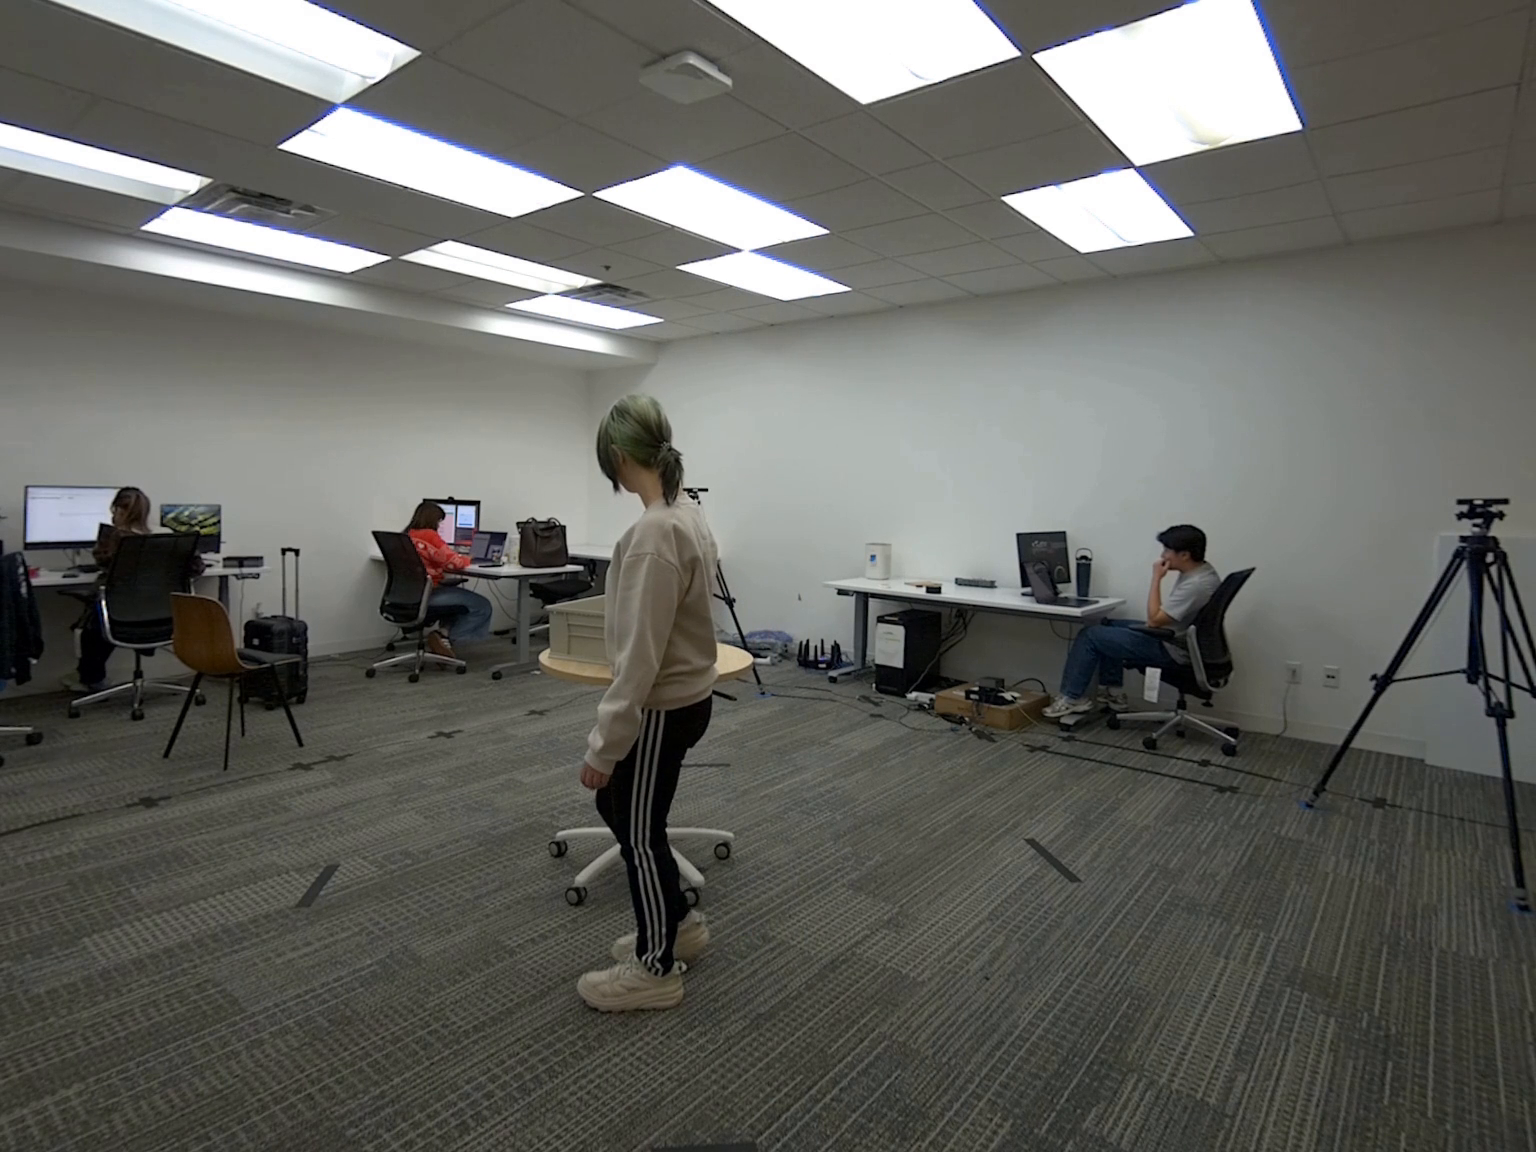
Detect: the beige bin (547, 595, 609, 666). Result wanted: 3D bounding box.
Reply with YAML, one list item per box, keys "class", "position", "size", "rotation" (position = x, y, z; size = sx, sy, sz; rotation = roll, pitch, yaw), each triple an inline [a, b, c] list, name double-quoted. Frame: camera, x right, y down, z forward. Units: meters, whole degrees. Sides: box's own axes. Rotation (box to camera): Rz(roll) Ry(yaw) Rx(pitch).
- class: "beige bin"
  position: [-0.550, 0.187, 3.097]
  size: [0.386, 0.188, 0.415]
  rotation: [2, 6, 21]
